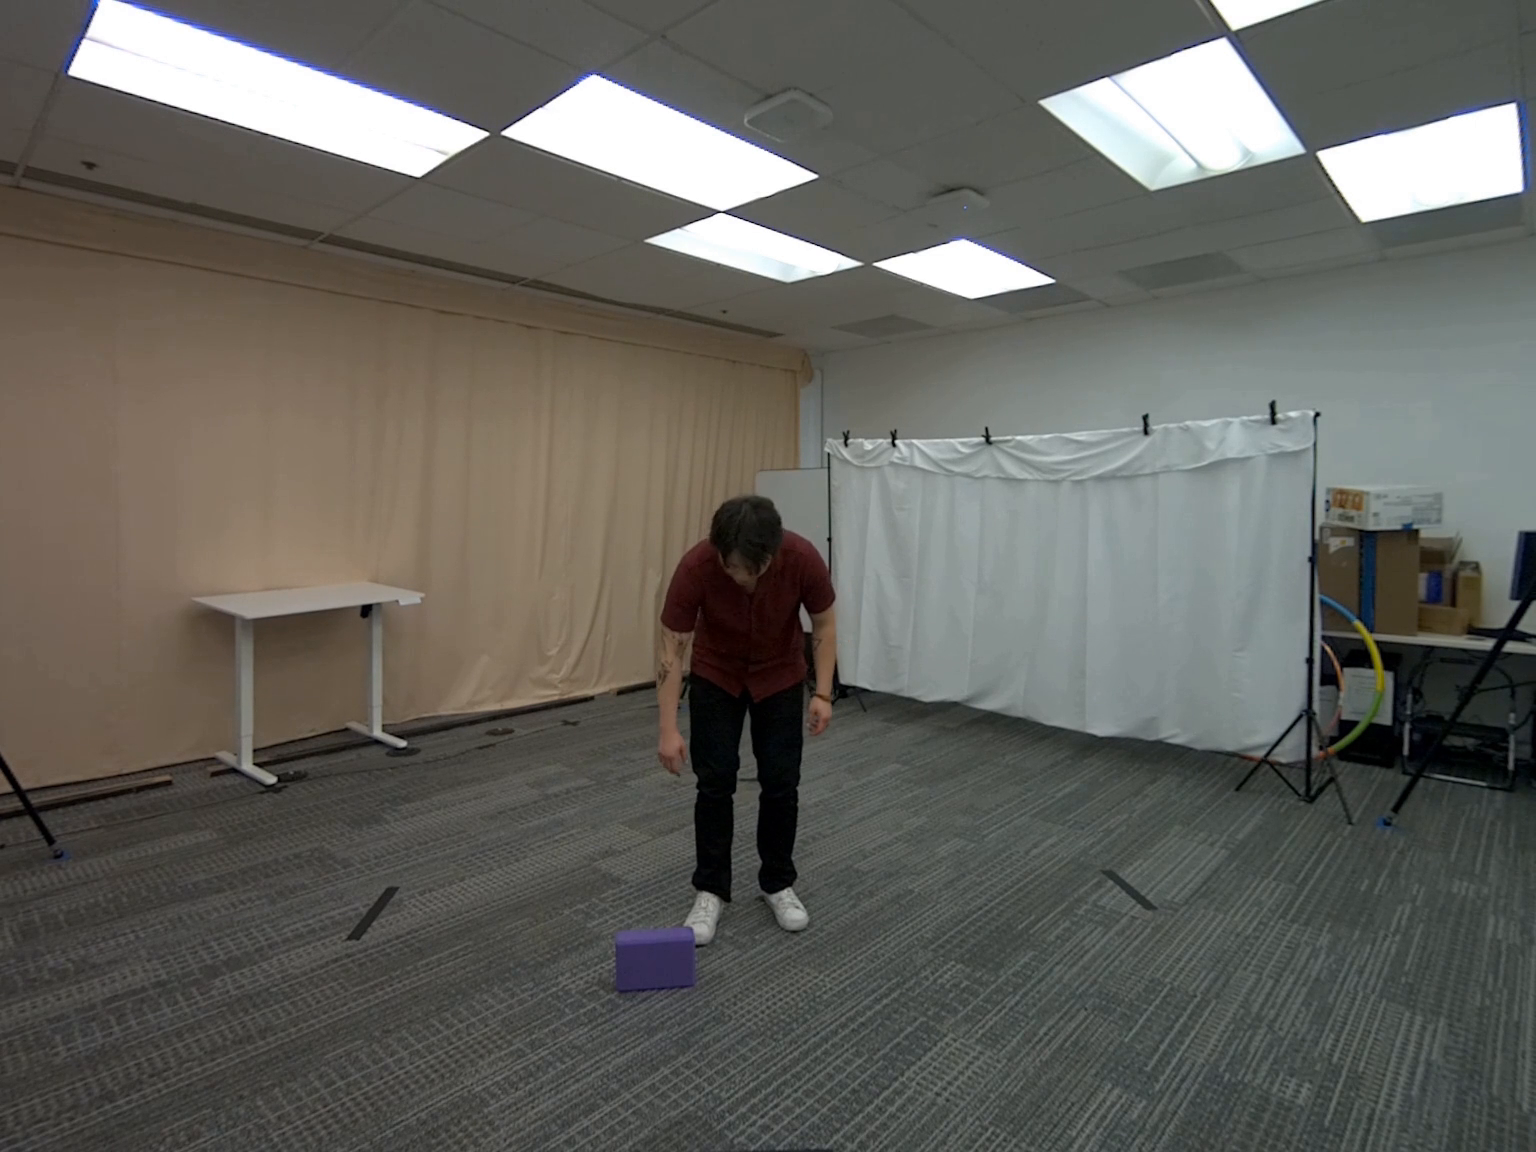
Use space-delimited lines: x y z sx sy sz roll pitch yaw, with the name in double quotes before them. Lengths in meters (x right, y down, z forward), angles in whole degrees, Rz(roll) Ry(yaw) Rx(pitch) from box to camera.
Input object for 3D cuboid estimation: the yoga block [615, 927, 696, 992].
"yoga block" -0.339 1.114 2.447 0.228 0.148 0.077 1 4 -6
